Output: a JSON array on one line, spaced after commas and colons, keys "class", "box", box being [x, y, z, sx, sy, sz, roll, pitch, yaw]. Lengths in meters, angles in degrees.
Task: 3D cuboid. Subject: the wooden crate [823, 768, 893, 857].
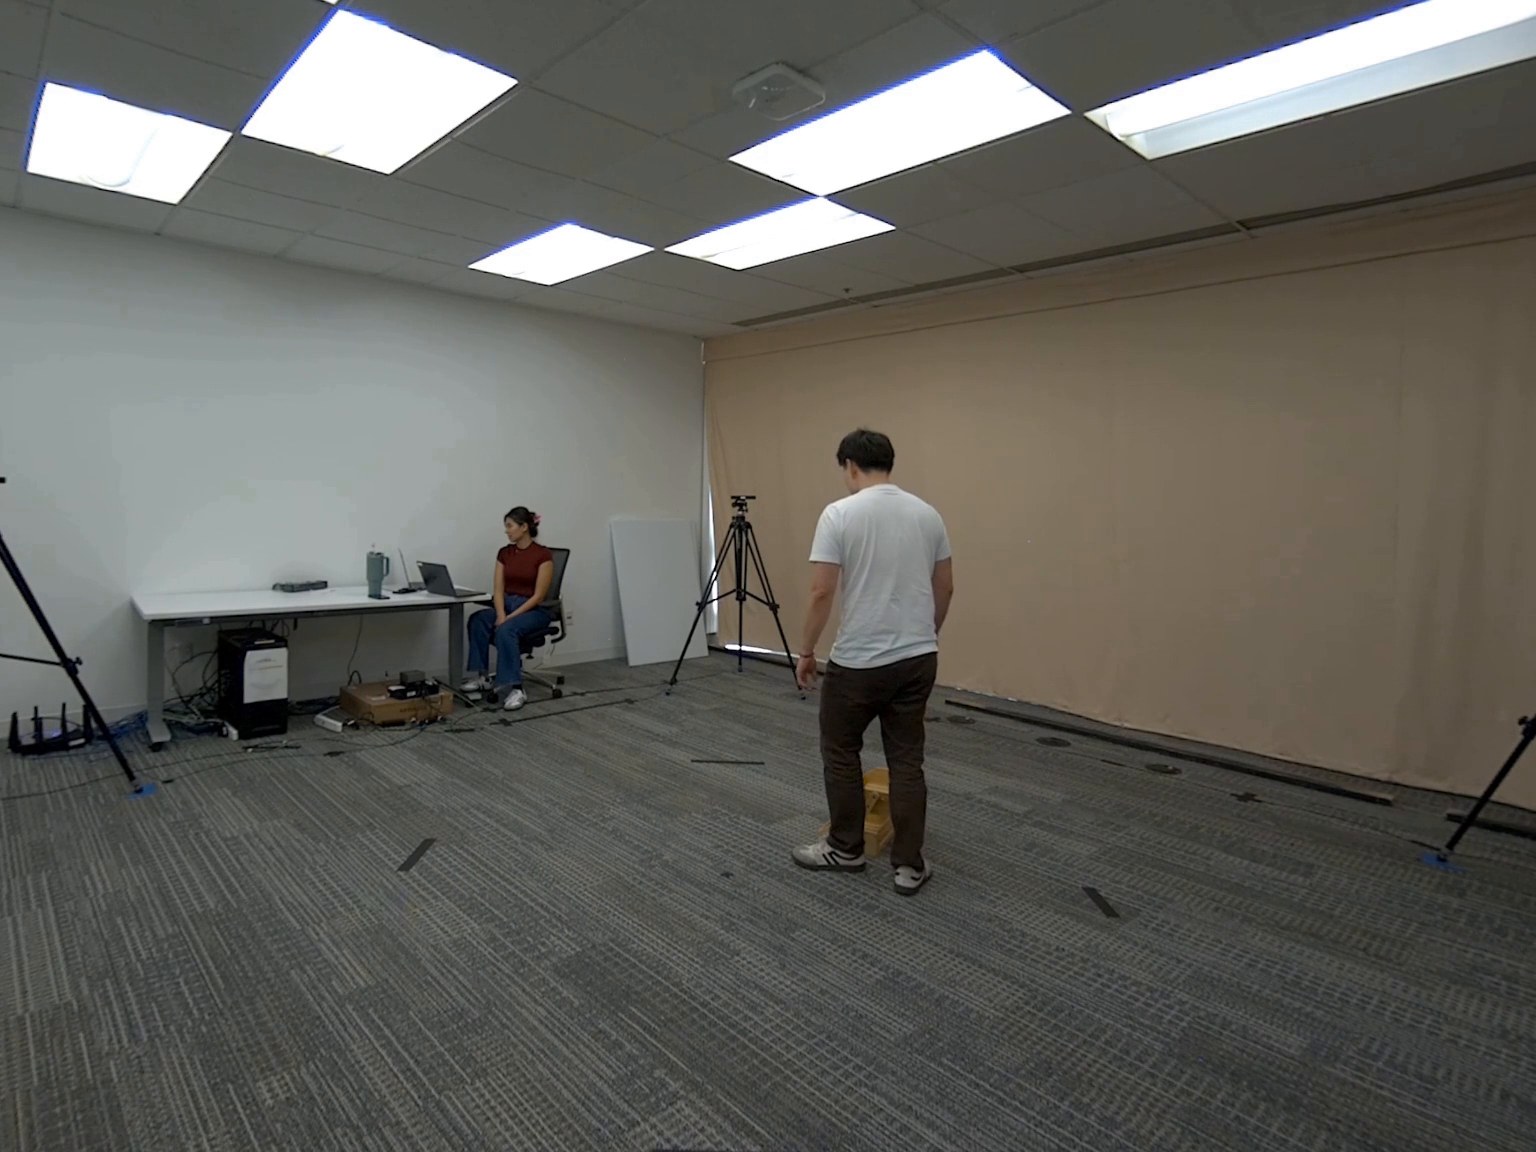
[{"class": "wooden crate", "box": [0.387, 0.948, 3.457, 0.308, 0.272, 0.319, 3, 4, 25]}]
